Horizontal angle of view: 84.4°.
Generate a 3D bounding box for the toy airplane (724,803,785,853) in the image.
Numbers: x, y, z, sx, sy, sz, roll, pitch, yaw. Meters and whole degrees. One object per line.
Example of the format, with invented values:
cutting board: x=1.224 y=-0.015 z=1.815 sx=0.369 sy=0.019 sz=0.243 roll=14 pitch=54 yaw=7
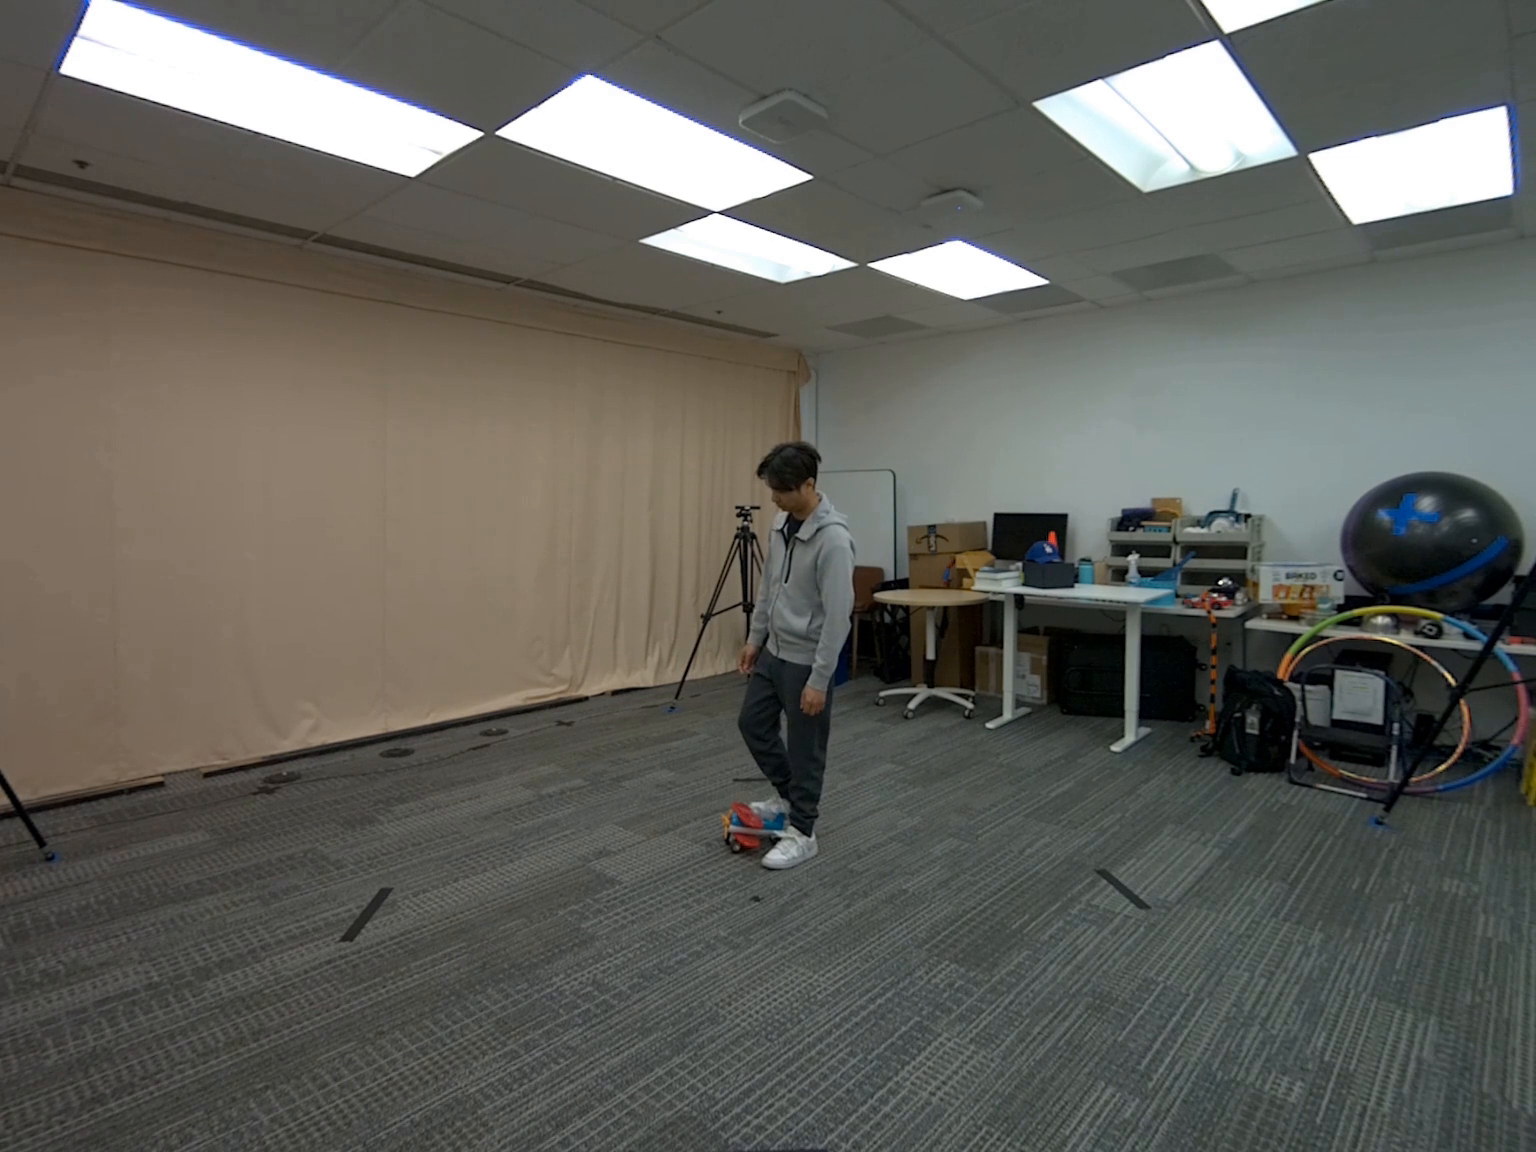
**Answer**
toy airplane: x=-0.064 y=1.036 z=3.453 sx=0.251 sy=0.156 sz=0.259 roll=-4 pitch=6 yaw=-44
